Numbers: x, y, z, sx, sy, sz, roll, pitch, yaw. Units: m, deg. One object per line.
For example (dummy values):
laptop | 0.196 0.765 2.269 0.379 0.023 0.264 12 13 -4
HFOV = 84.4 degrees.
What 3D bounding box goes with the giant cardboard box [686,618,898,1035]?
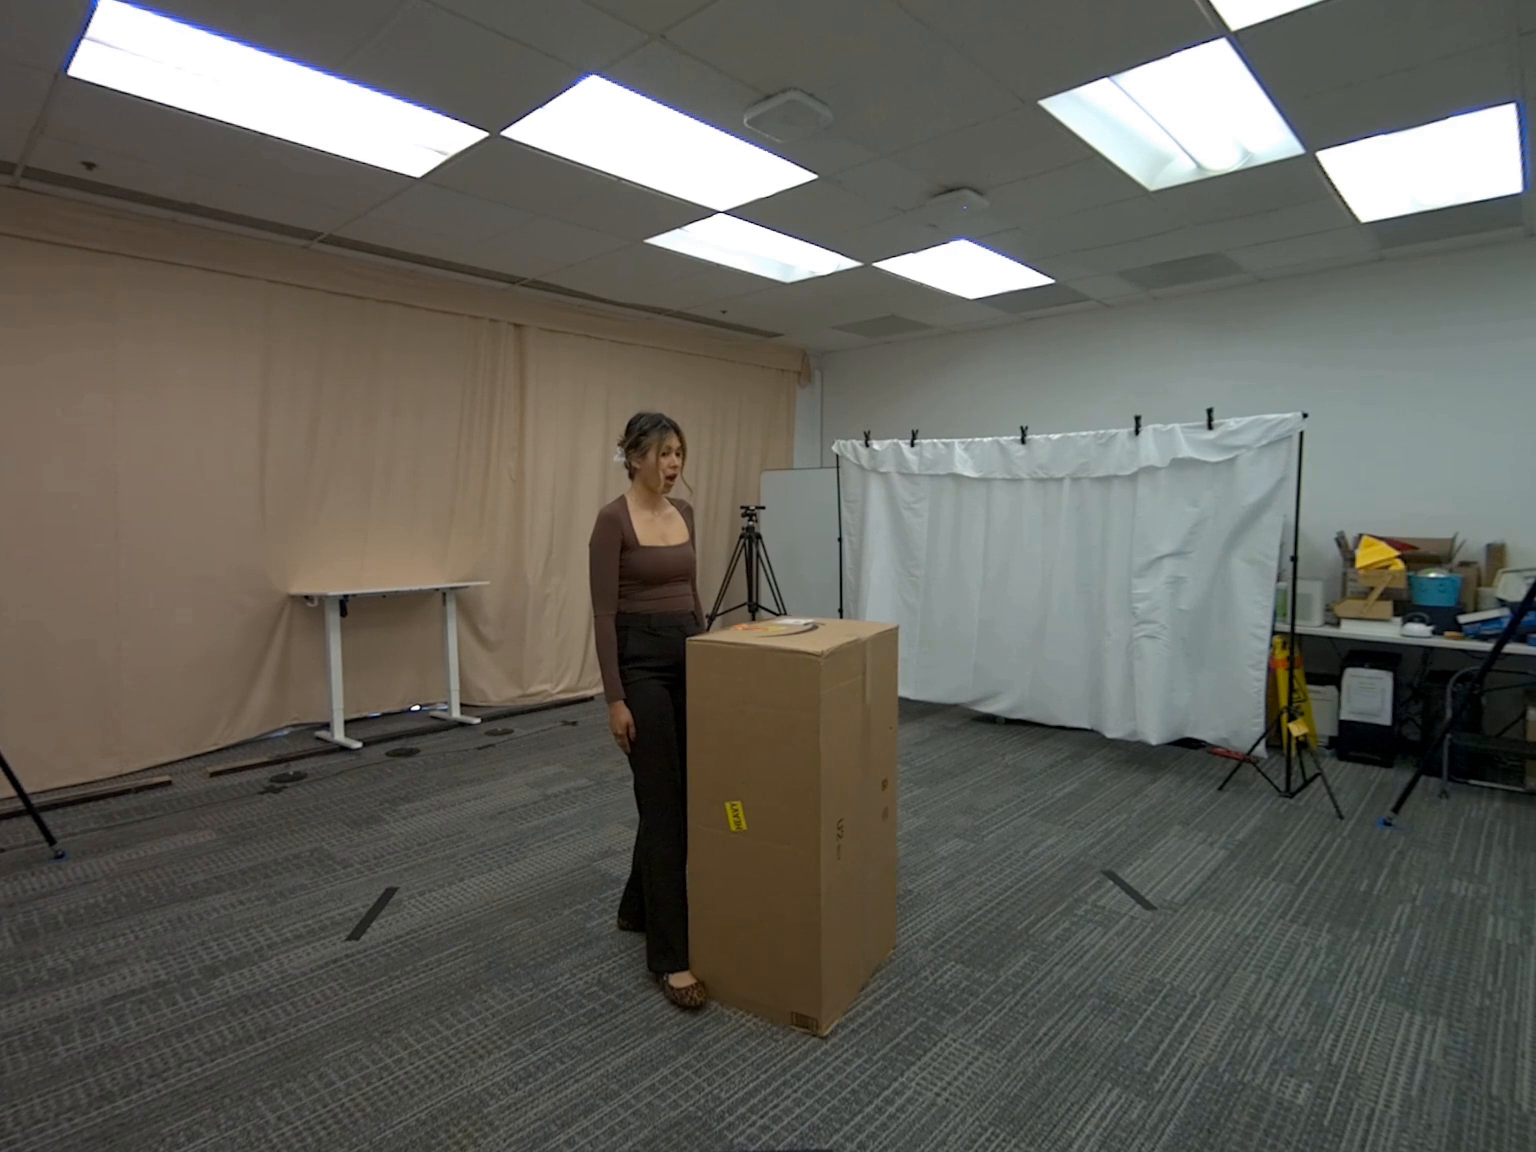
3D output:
giant cardboard box | 0.095 0.672 2.525 0.460 1.025 0.568 1 4 32
